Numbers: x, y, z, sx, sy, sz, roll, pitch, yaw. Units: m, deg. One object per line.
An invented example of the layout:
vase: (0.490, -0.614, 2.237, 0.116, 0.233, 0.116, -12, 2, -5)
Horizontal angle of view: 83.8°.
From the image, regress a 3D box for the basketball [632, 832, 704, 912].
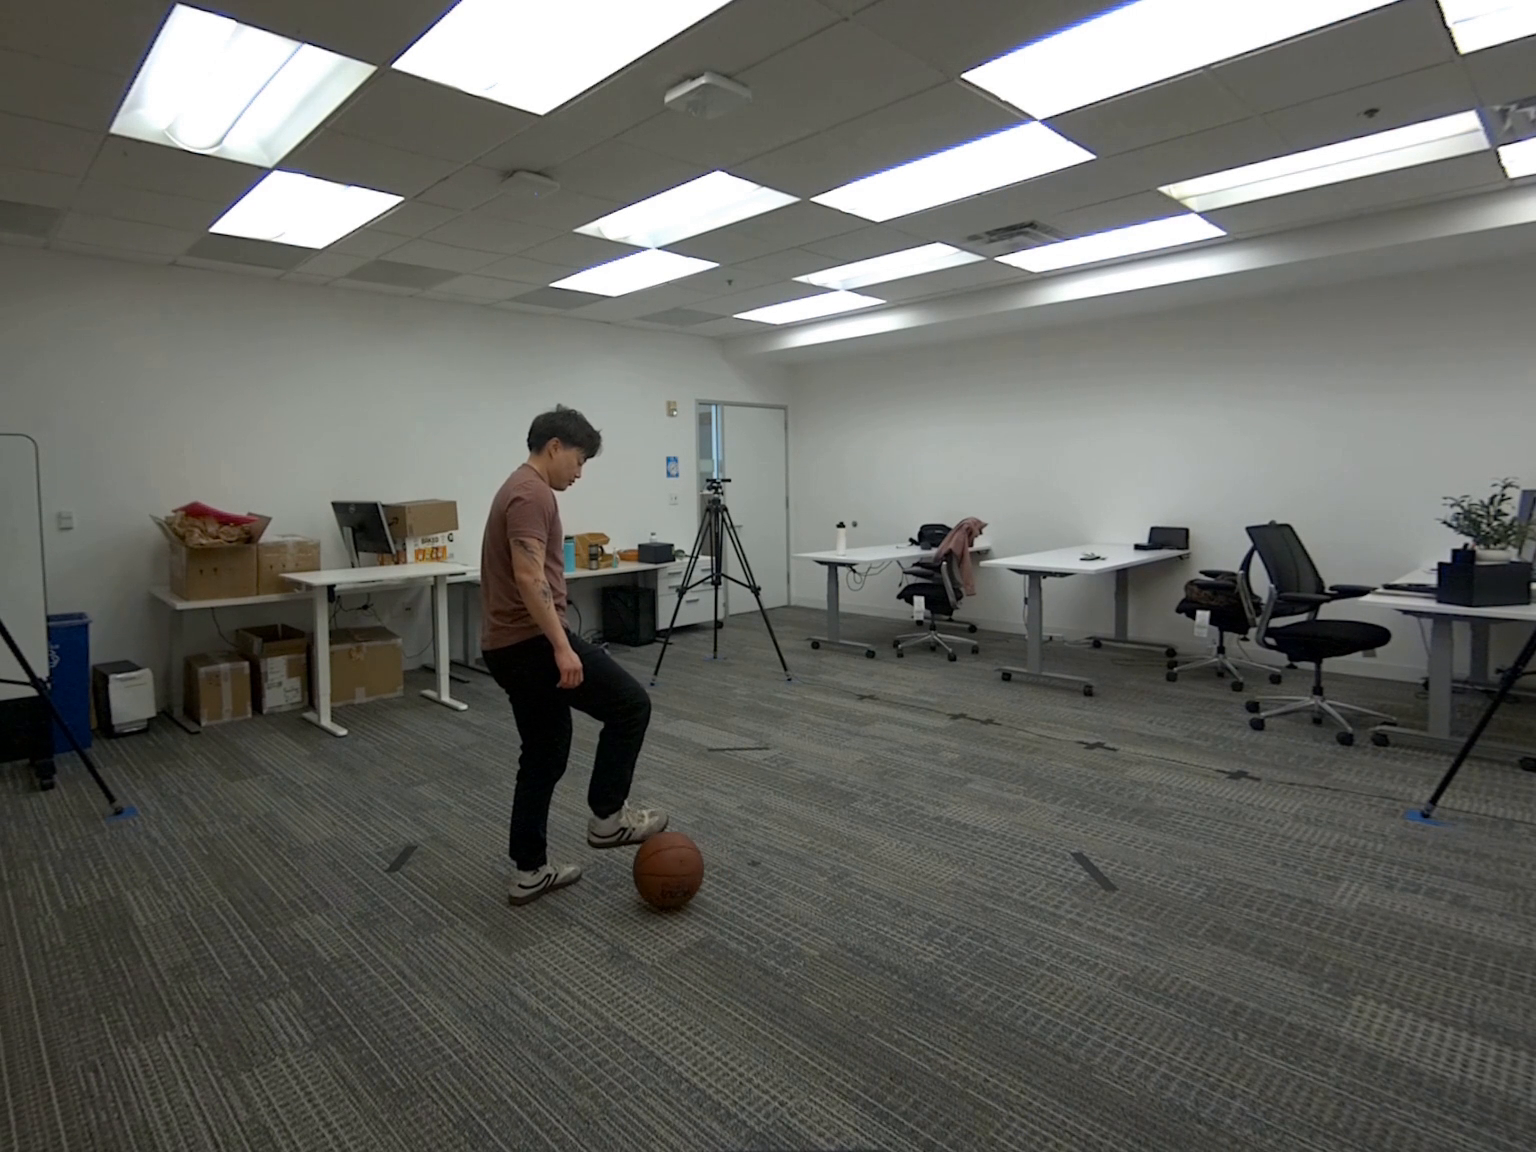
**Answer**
basketball: (-0.324, 0.964, 2.802, 0.236, 0.235, 0.237, -1, 5, -2)
